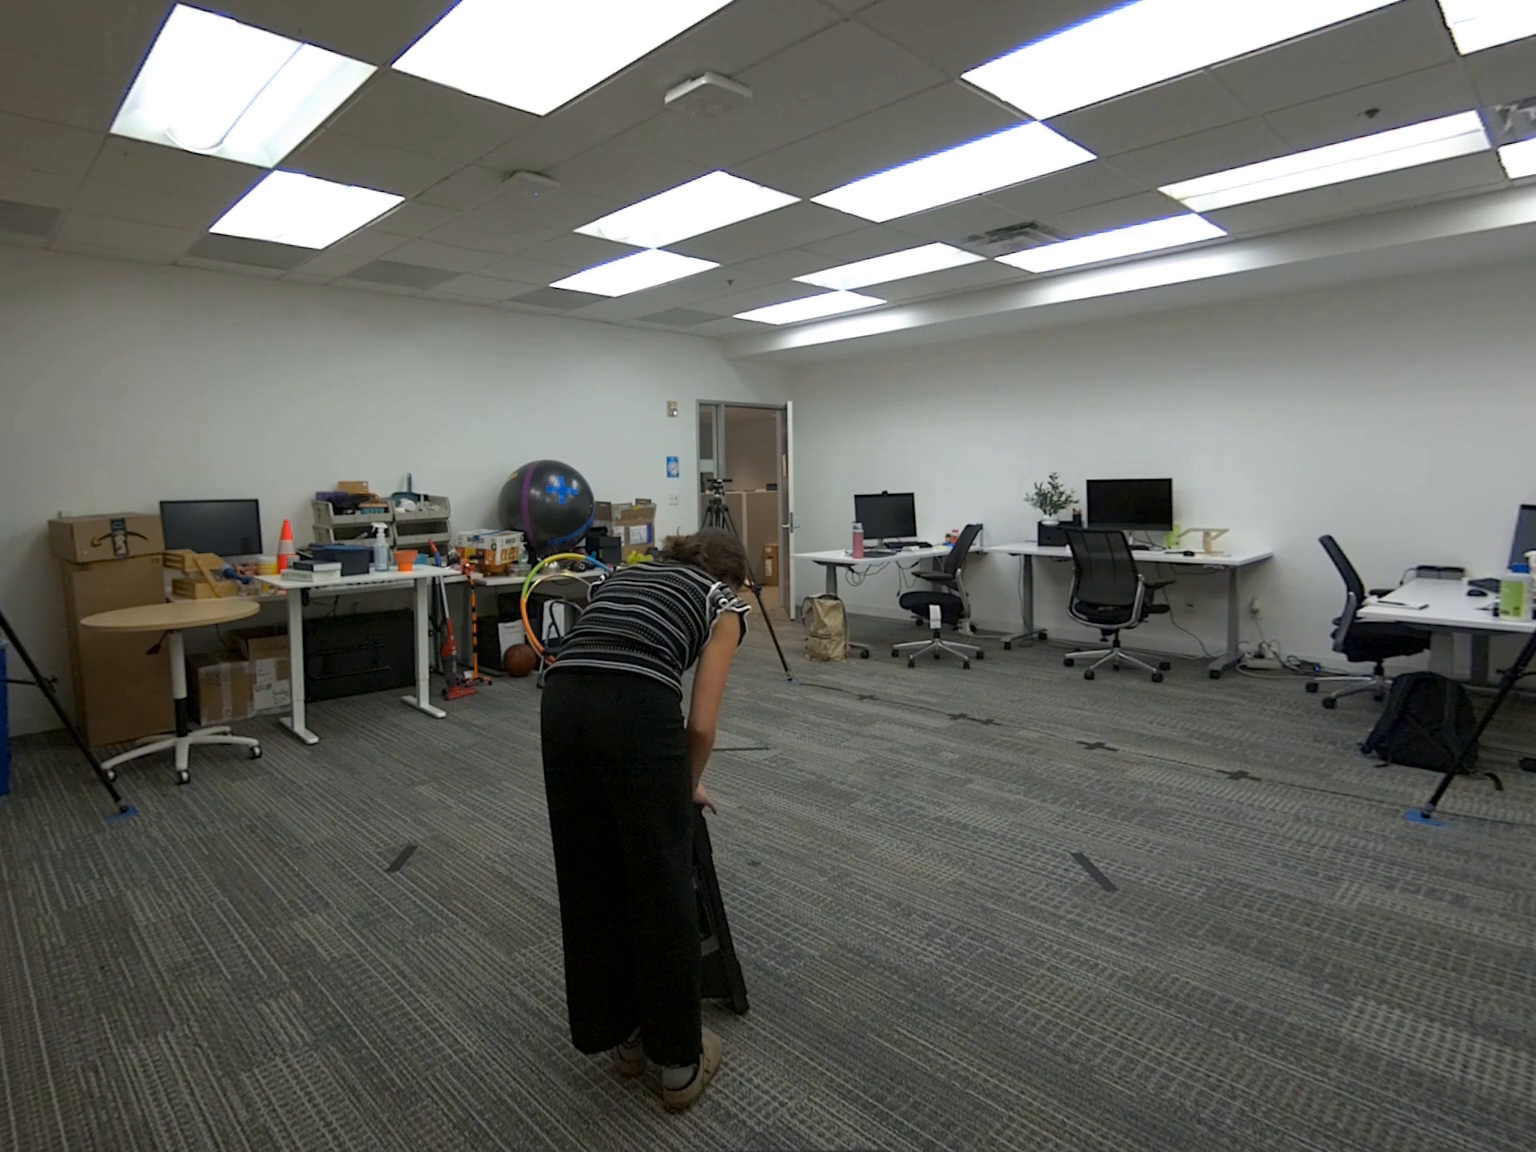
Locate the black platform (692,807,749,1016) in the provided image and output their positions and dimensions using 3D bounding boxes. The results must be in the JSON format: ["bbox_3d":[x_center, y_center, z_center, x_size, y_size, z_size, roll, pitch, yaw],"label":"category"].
[{"bbox_3d":[-0.254,0.825,2.583,0.142,0.601,0.818,-14,7,-12],"label":"black platform"}]
